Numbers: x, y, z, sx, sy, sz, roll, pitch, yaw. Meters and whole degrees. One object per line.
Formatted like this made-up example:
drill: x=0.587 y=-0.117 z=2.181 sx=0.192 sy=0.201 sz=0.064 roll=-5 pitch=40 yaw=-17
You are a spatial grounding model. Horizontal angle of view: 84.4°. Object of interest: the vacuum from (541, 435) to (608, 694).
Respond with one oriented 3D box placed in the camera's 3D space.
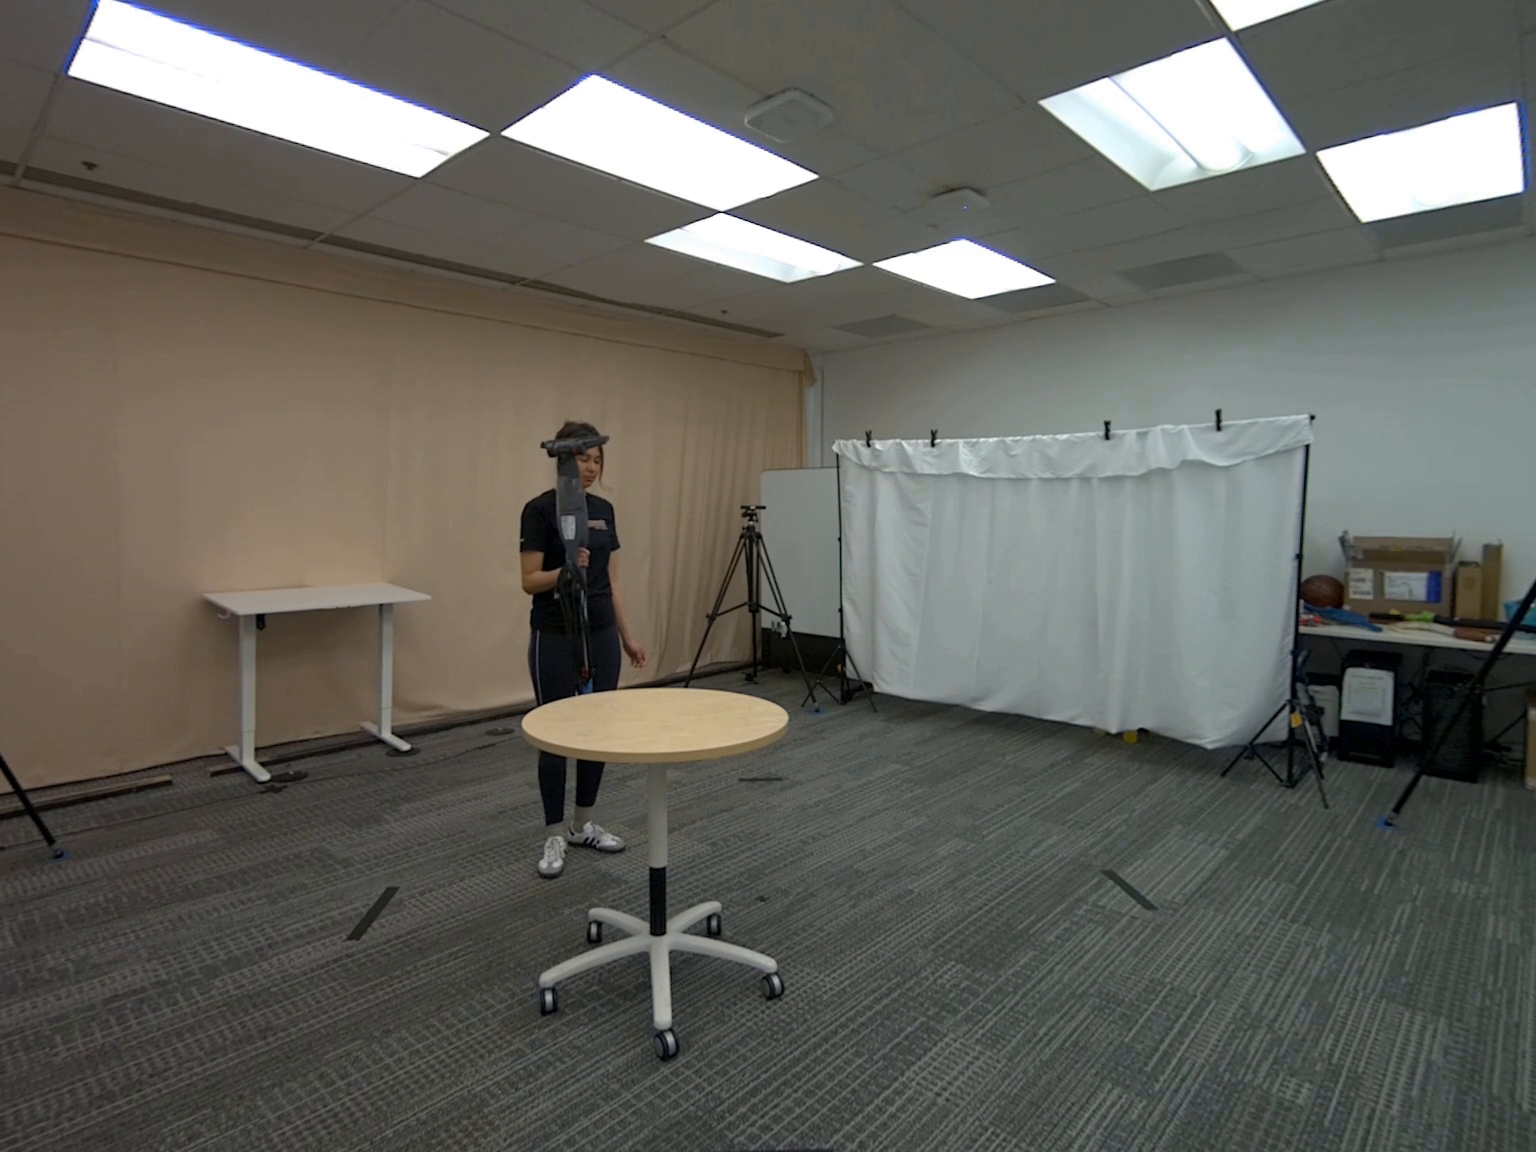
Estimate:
vacuum: x=-0.684 y=0.040 z=2.990 sx=0.255 sy=1.051 sz=0.142 roll=-4 pitch=-3 yaw=10
